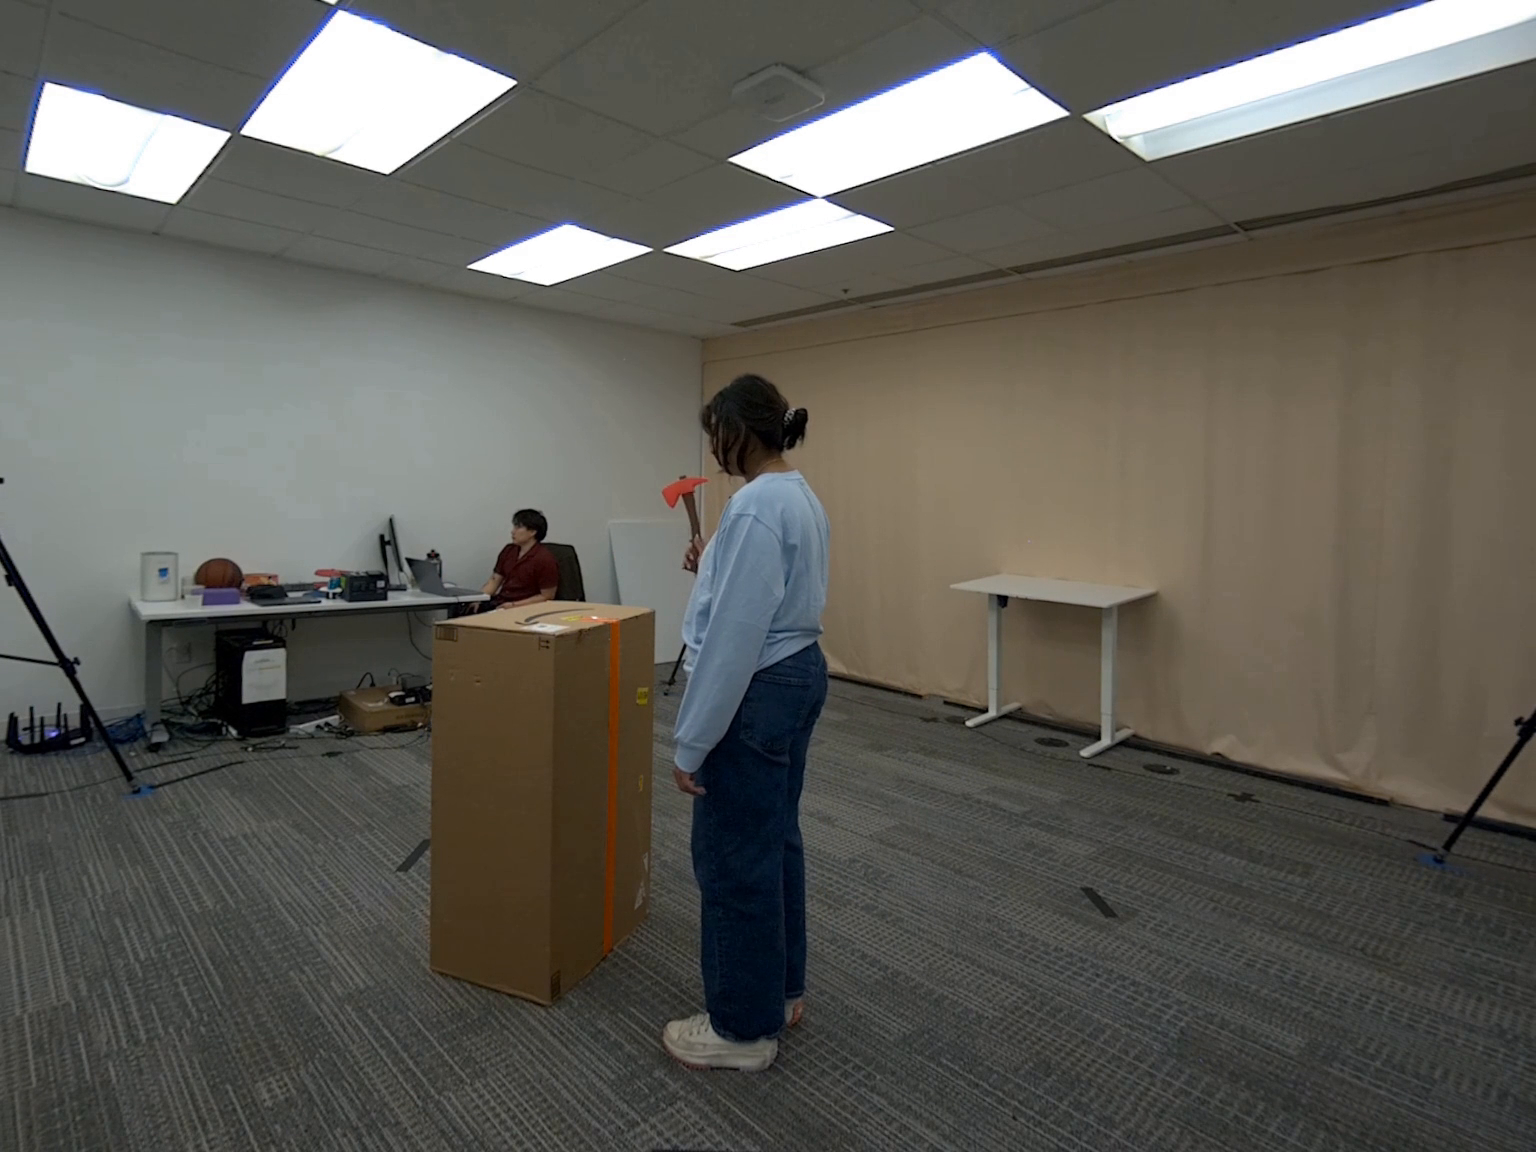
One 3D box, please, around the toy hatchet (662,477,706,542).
[{"bbox_3d":[-0.249,-0.146,2.359,0.132,0.270,0.029,3,-3,9],"label":"toy hatchet"}]
